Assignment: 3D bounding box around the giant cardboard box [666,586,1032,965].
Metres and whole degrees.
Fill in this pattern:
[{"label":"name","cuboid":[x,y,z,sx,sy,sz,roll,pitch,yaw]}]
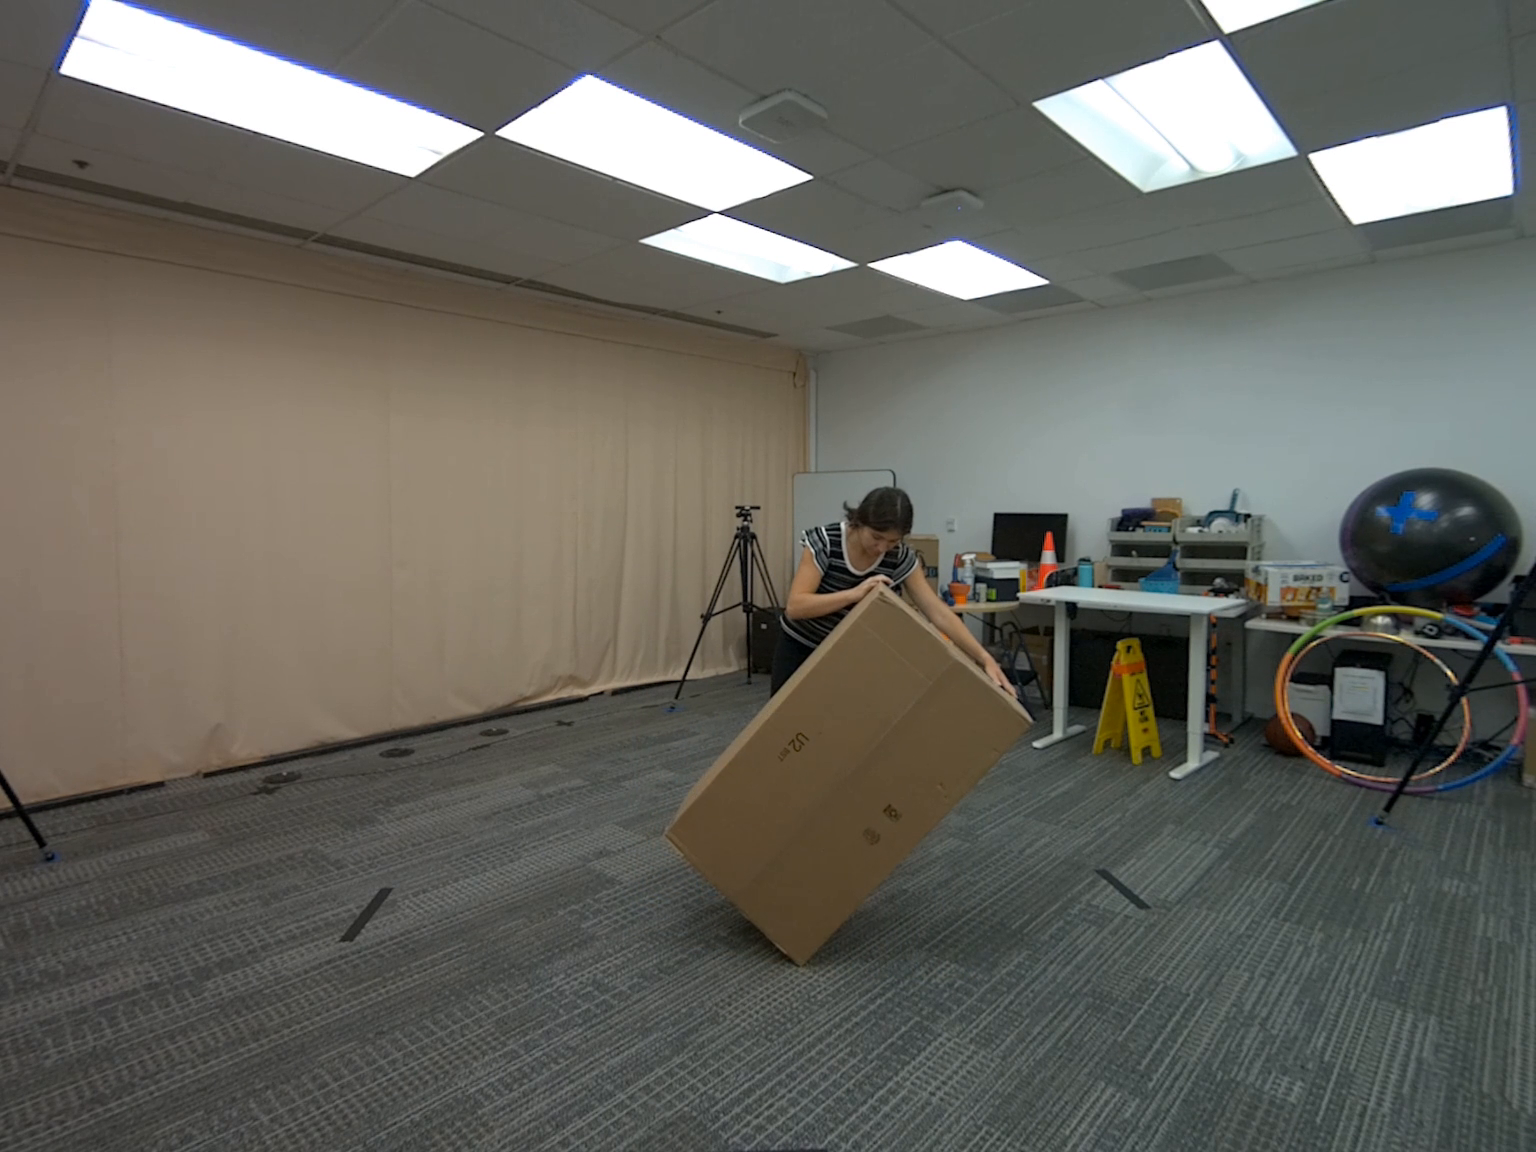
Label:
[{"label":"giant cardboard box","cuboid":[0.240,0.600,2.698,0.582,1.028,0.422,42,9,5]}]
